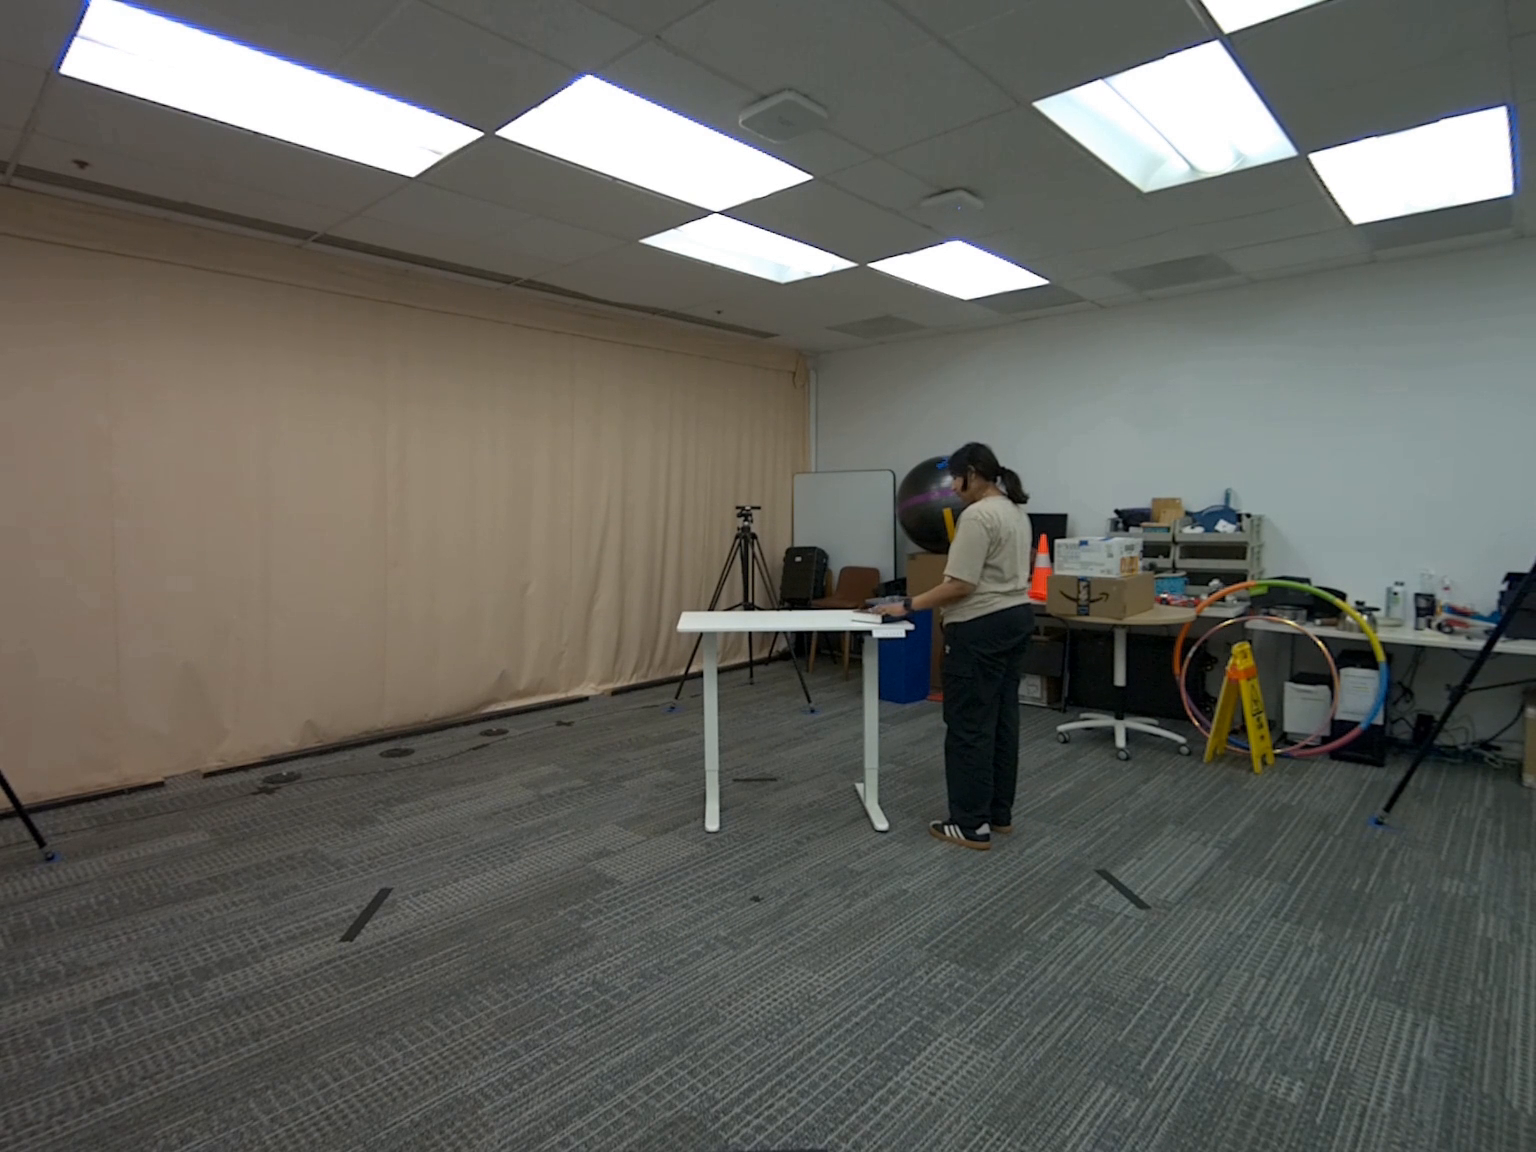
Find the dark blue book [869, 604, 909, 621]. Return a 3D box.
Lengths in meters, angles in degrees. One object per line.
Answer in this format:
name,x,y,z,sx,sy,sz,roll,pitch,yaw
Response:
dark blue book,0.529,0.178,3.754,0.237,0.045,0.169,-5,7,-44
